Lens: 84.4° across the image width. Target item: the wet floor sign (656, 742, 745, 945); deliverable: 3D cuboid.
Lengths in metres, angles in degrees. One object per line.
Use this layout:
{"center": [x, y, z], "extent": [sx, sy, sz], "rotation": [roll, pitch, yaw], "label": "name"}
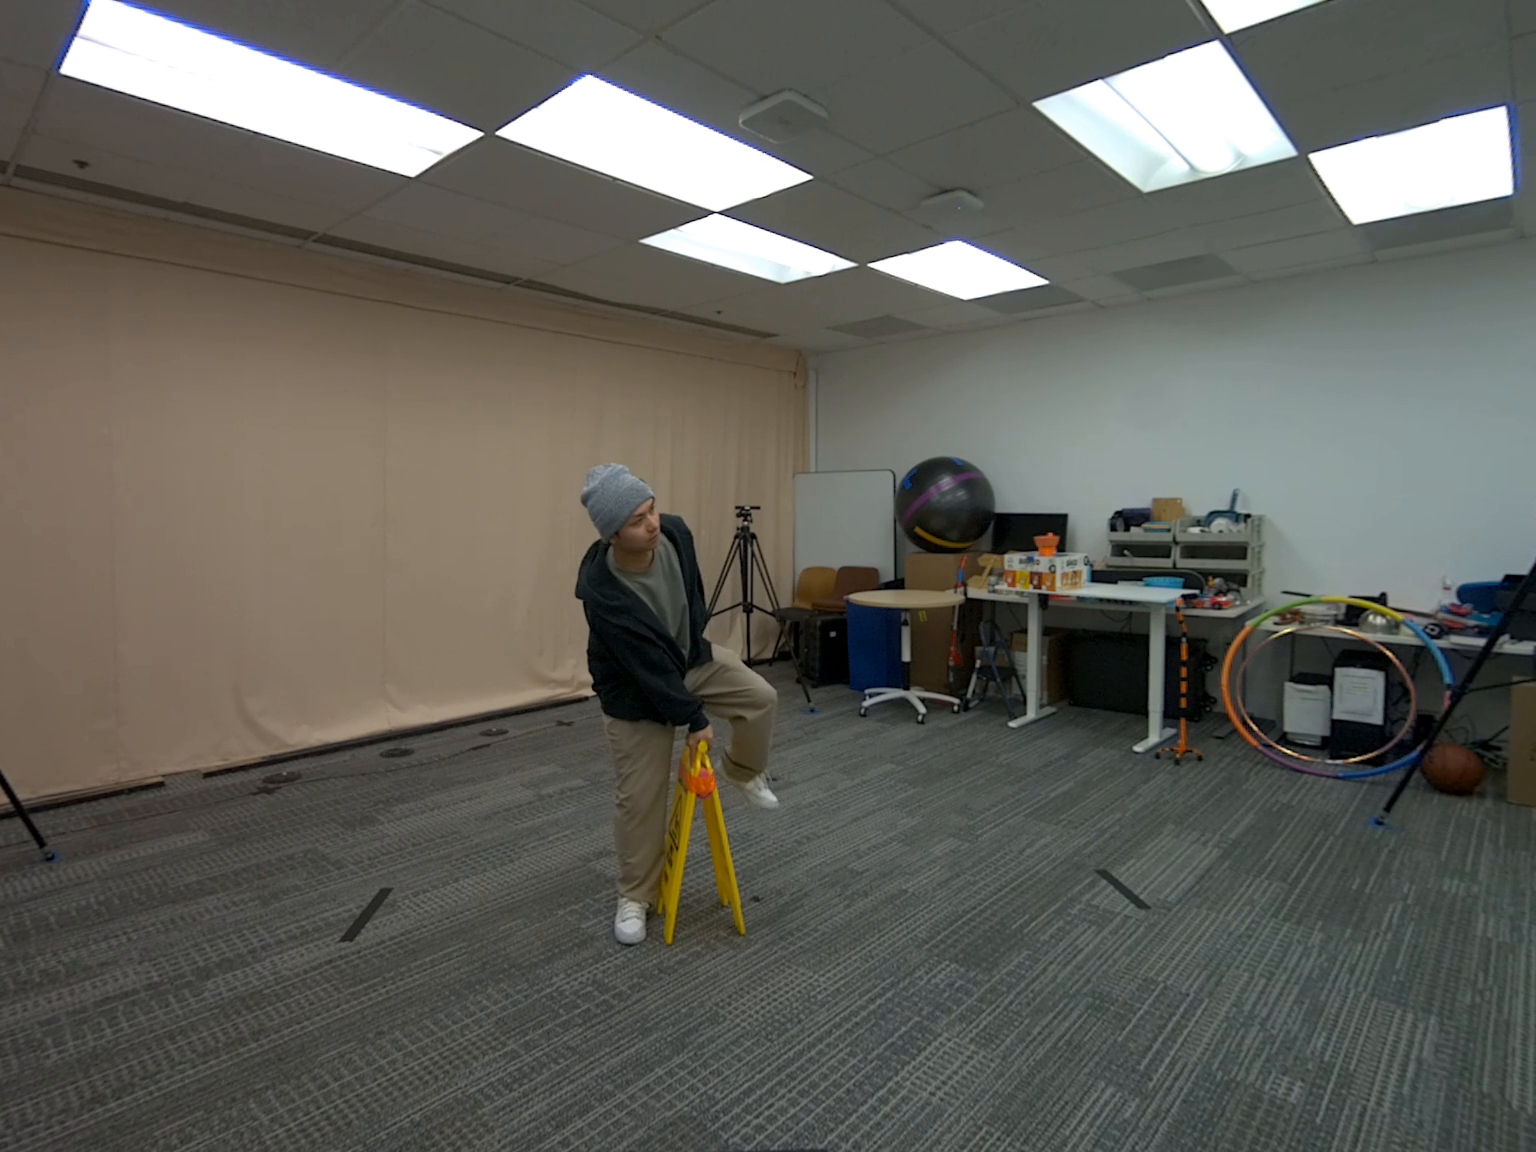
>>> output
{"center": [-0.235, 0.834, 2.806], "extent": [0.285, 0.645, 0.287], "rotation": [-1, 3, -16], "label": "wet floor sign"}
